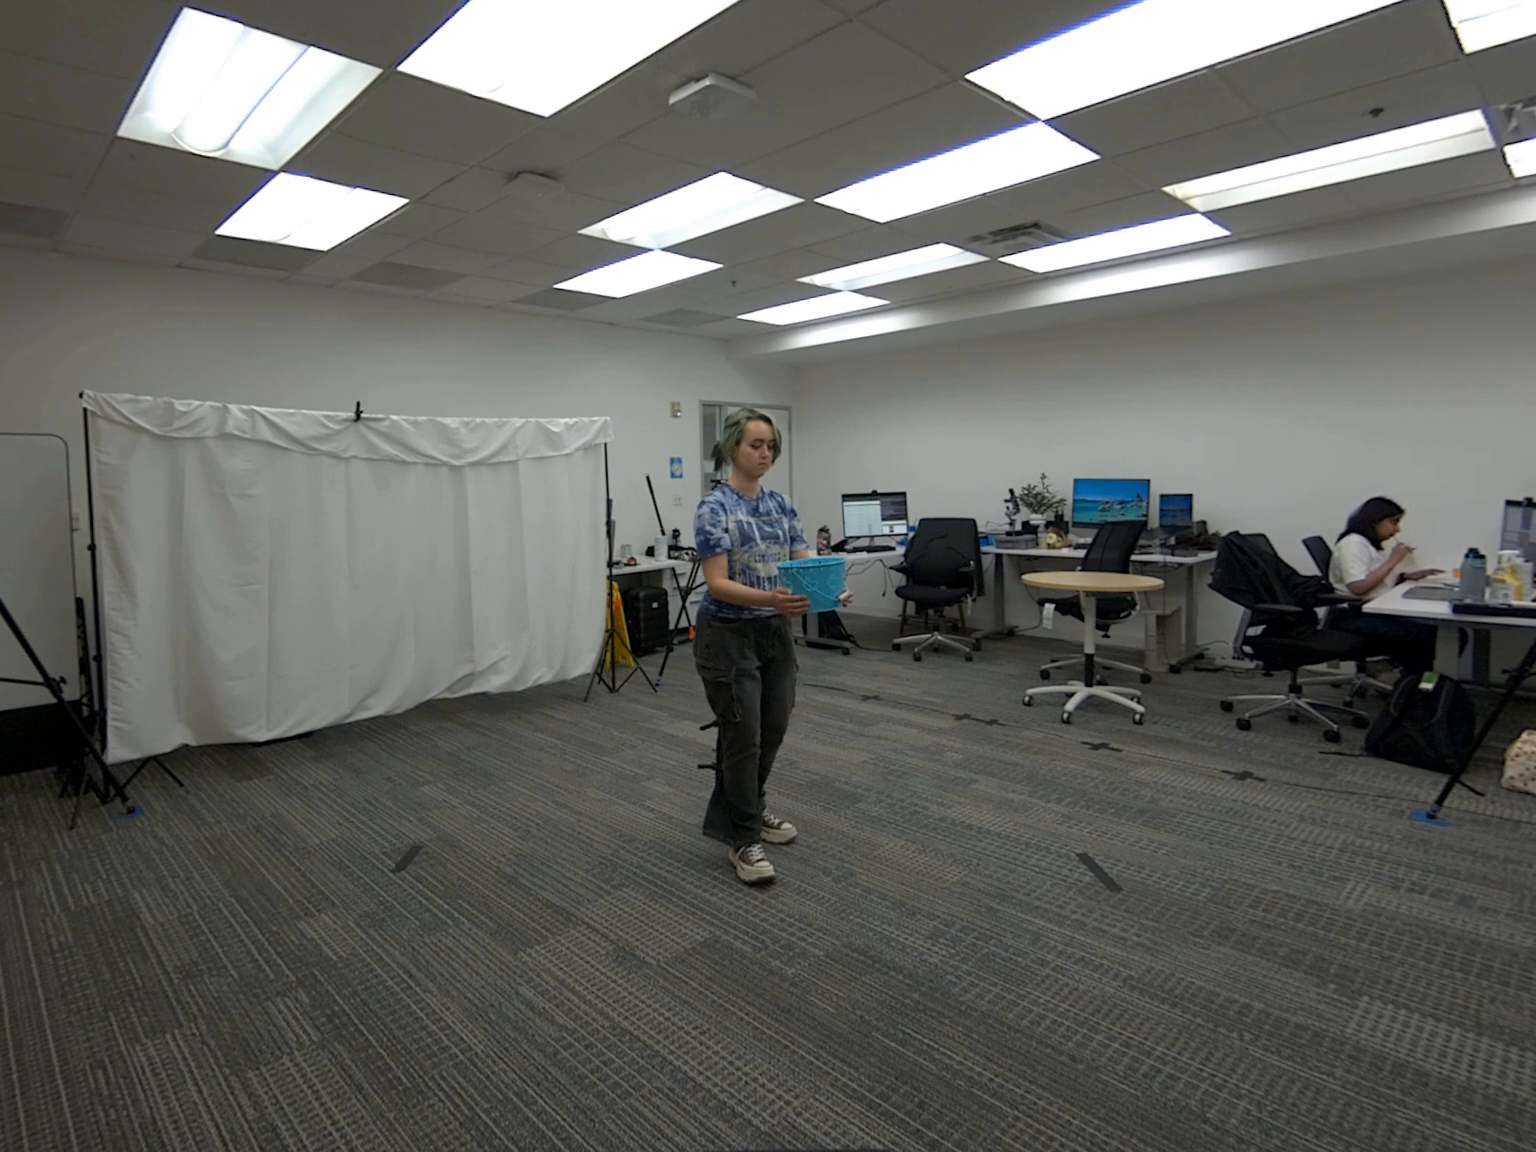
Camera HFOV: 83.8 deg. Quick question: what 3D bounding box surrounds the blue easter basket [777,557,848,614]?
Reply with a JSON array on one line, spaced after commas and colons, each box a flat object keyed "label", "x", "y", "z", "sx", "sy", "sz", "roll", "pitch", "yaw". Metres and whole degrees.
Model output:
[{"label": "blue easter basket", "x": 0.146, "y": 0.031, "z": 2.781, "sx": 0.243, "sy": 0.155, "sz": 0.245, "roll": -6, "pitch": 6, "yaw": -1}]
